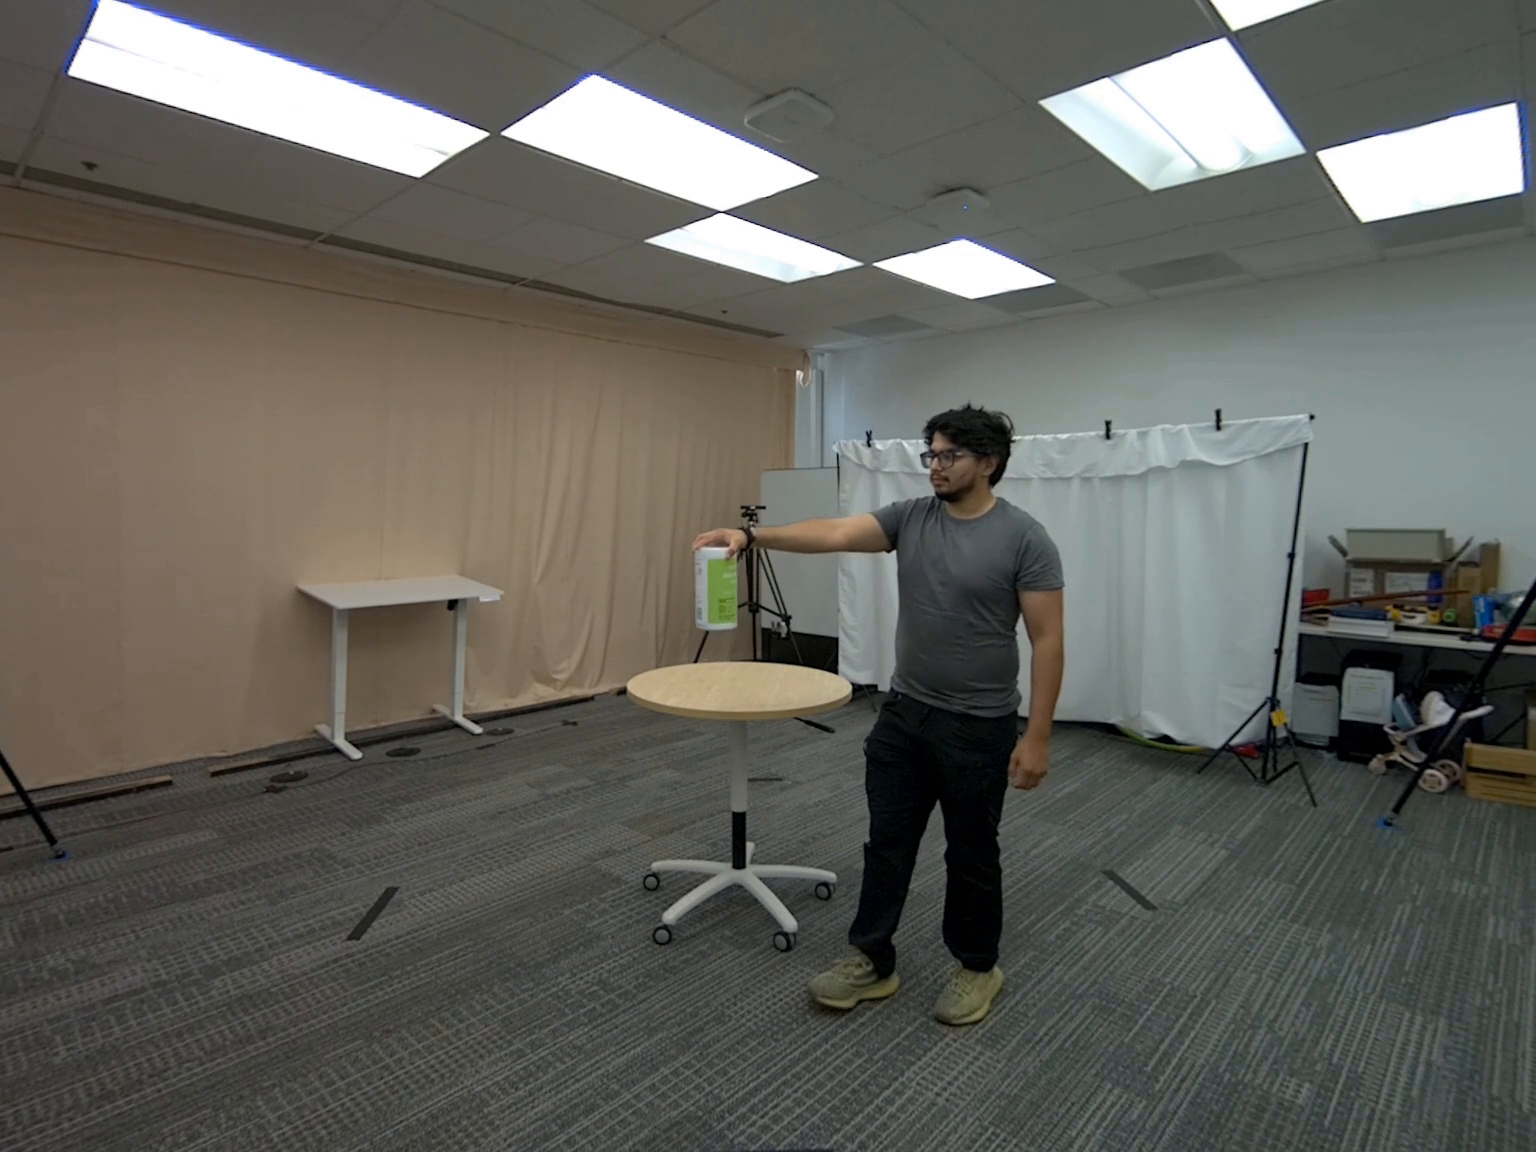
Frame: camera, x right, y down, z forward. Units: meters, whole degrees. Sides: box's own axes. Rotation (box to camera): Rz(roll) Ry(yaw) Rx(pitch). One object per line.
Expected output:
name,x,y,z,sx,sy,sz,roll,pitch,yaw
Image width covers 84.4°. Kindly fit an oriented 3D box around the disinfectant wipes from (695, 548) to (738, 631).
disinfectant wipes,-0.134,0.035,2.193,0.118,0.217,0.118,-2,4,-2
